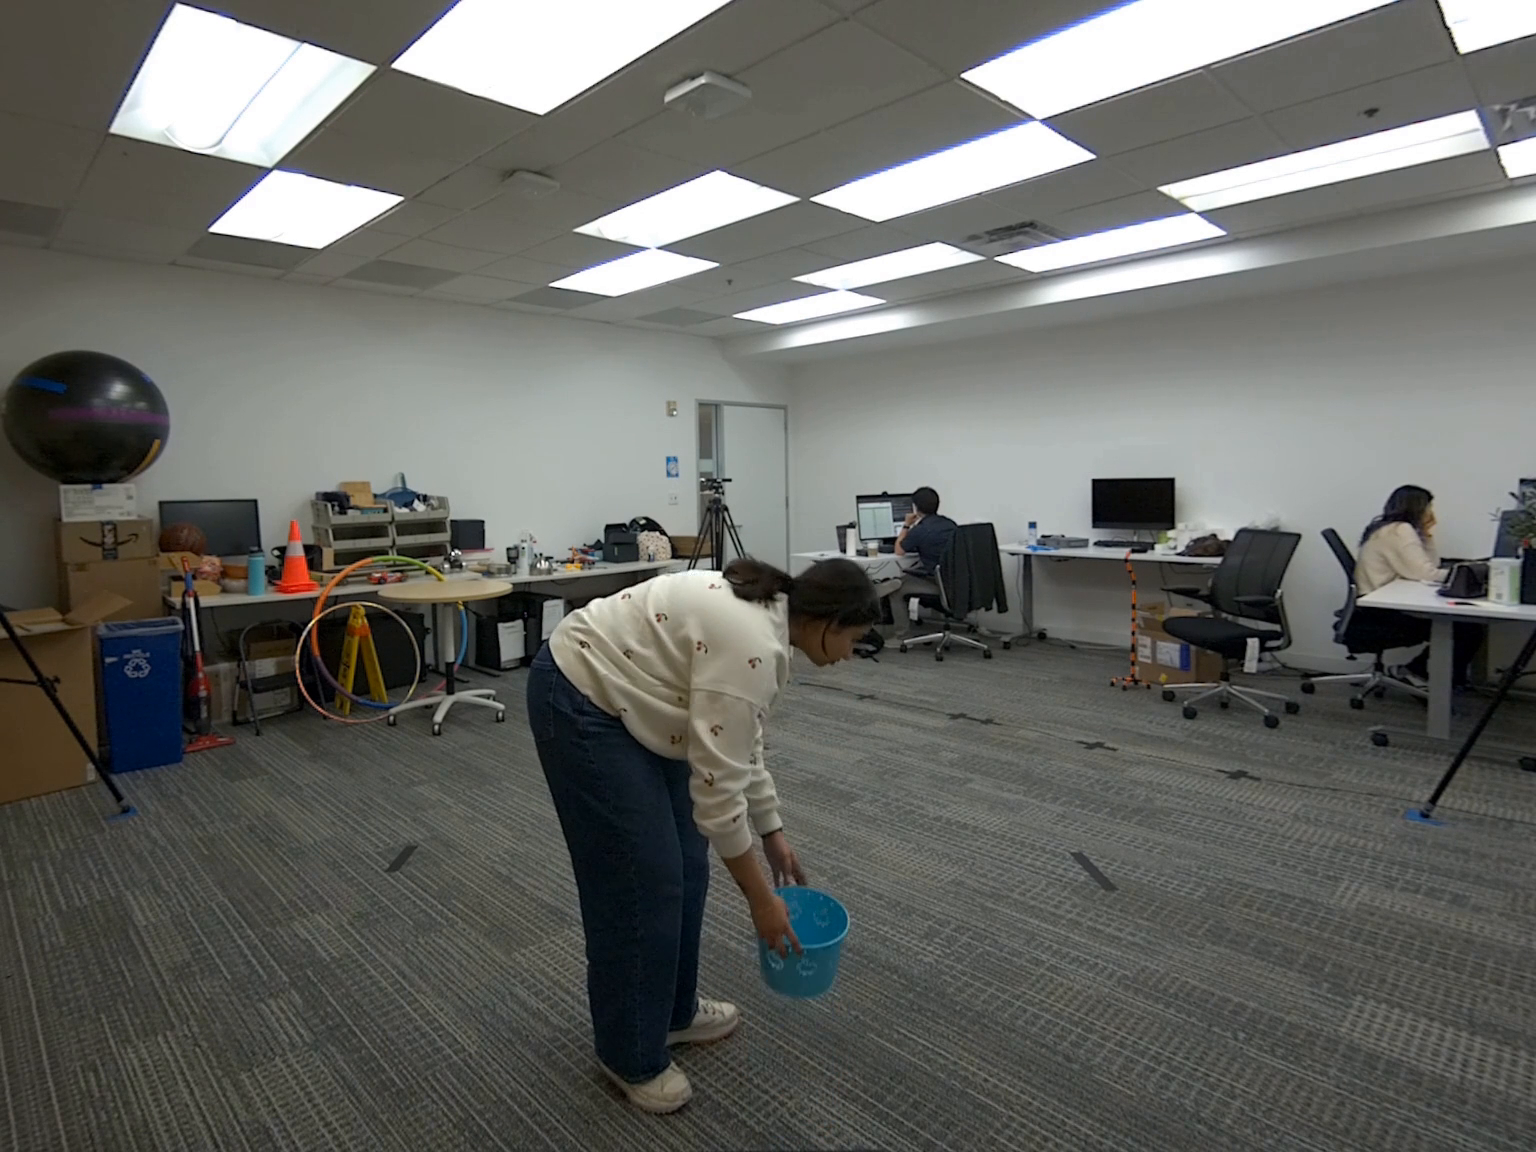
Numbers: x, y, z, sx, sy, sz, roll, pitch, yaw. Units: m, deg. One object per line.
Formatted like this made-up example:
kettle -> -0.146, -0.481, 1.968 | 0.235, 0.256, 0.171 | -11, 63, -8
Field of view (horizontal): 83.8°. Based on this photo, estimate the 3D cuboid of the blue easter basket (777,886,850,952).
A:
blue easter basket -> 0.087, 0.861, 2.032 | 0.243, 0.154, 0.246 | 1, 10, -2
